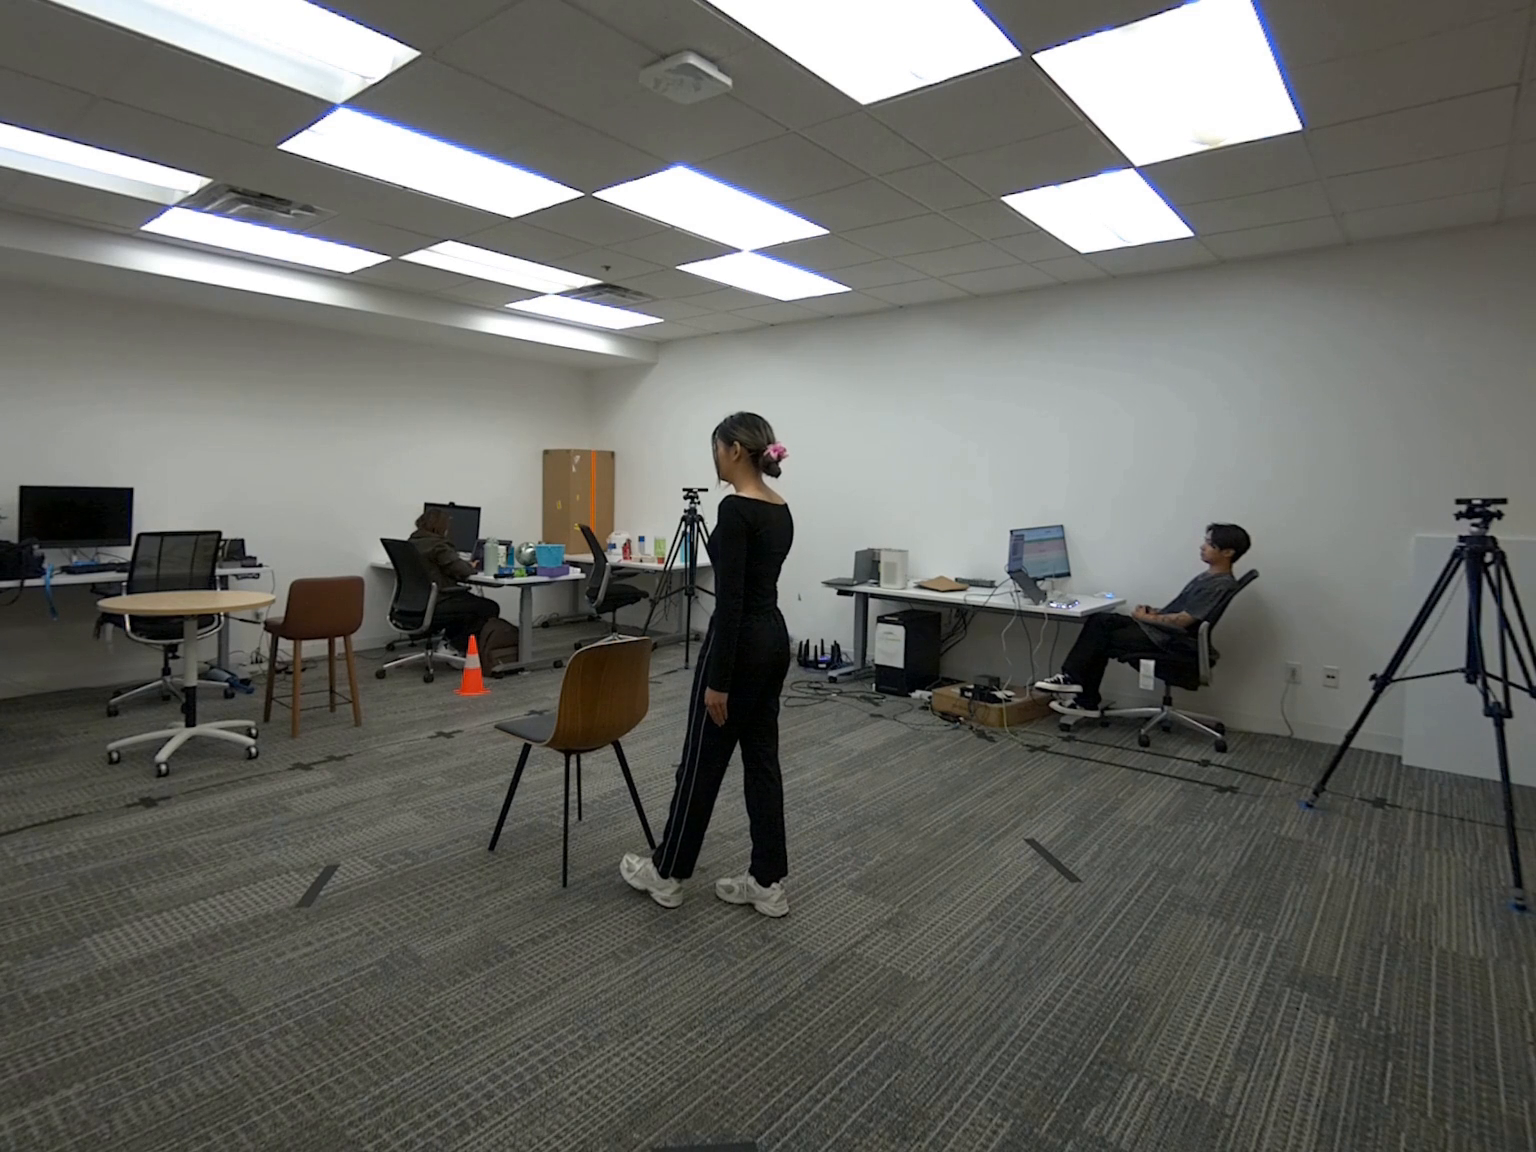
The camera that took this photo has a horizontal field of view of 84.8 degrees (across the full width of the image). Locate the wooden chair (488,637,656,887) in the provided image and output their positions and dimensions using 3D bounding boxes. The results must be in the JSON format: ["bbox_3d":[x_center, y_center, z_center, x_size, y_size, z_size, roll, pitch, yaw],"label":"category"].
[{"bbox_3d":[-0.759,0.622,3.235,0.542,0.873,0.464,9,8,39],"label":"wooden chair"}]
